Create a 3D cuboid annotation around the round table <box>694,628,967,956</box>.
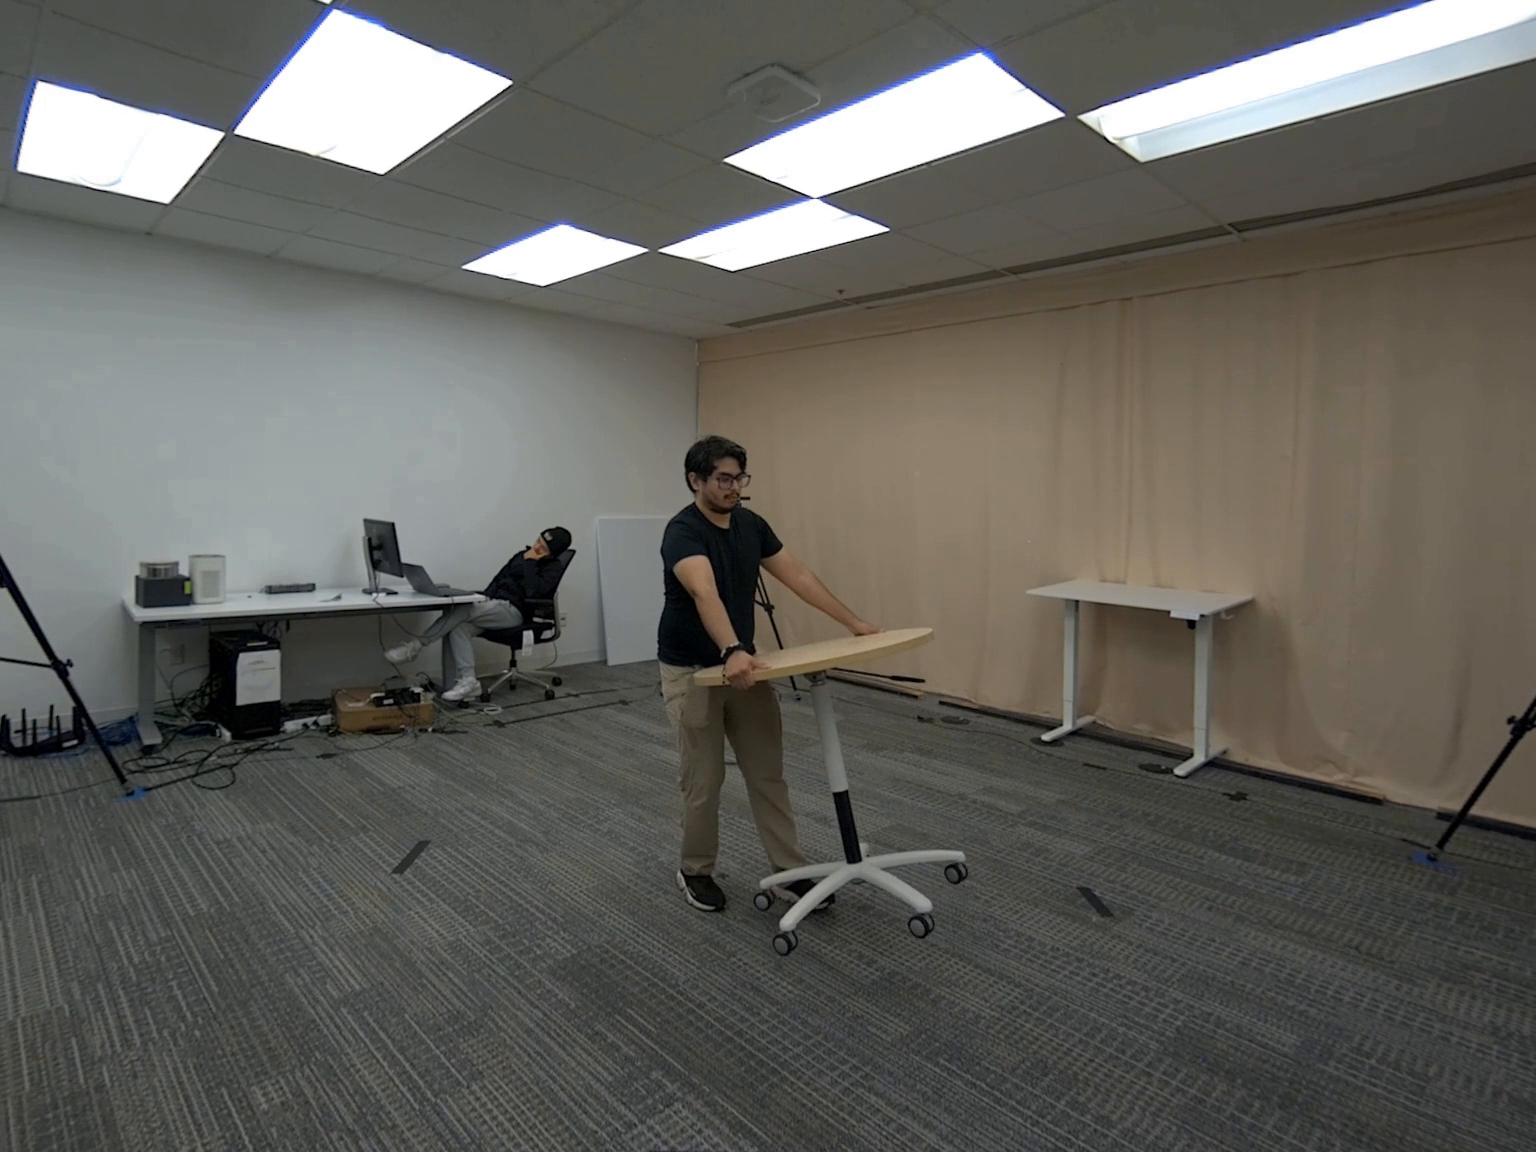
[{"bbox_3d":[0.222,0.634,2.652,0.784,0.789,0.783,-11,-3,-2],"label":"round table"}]
